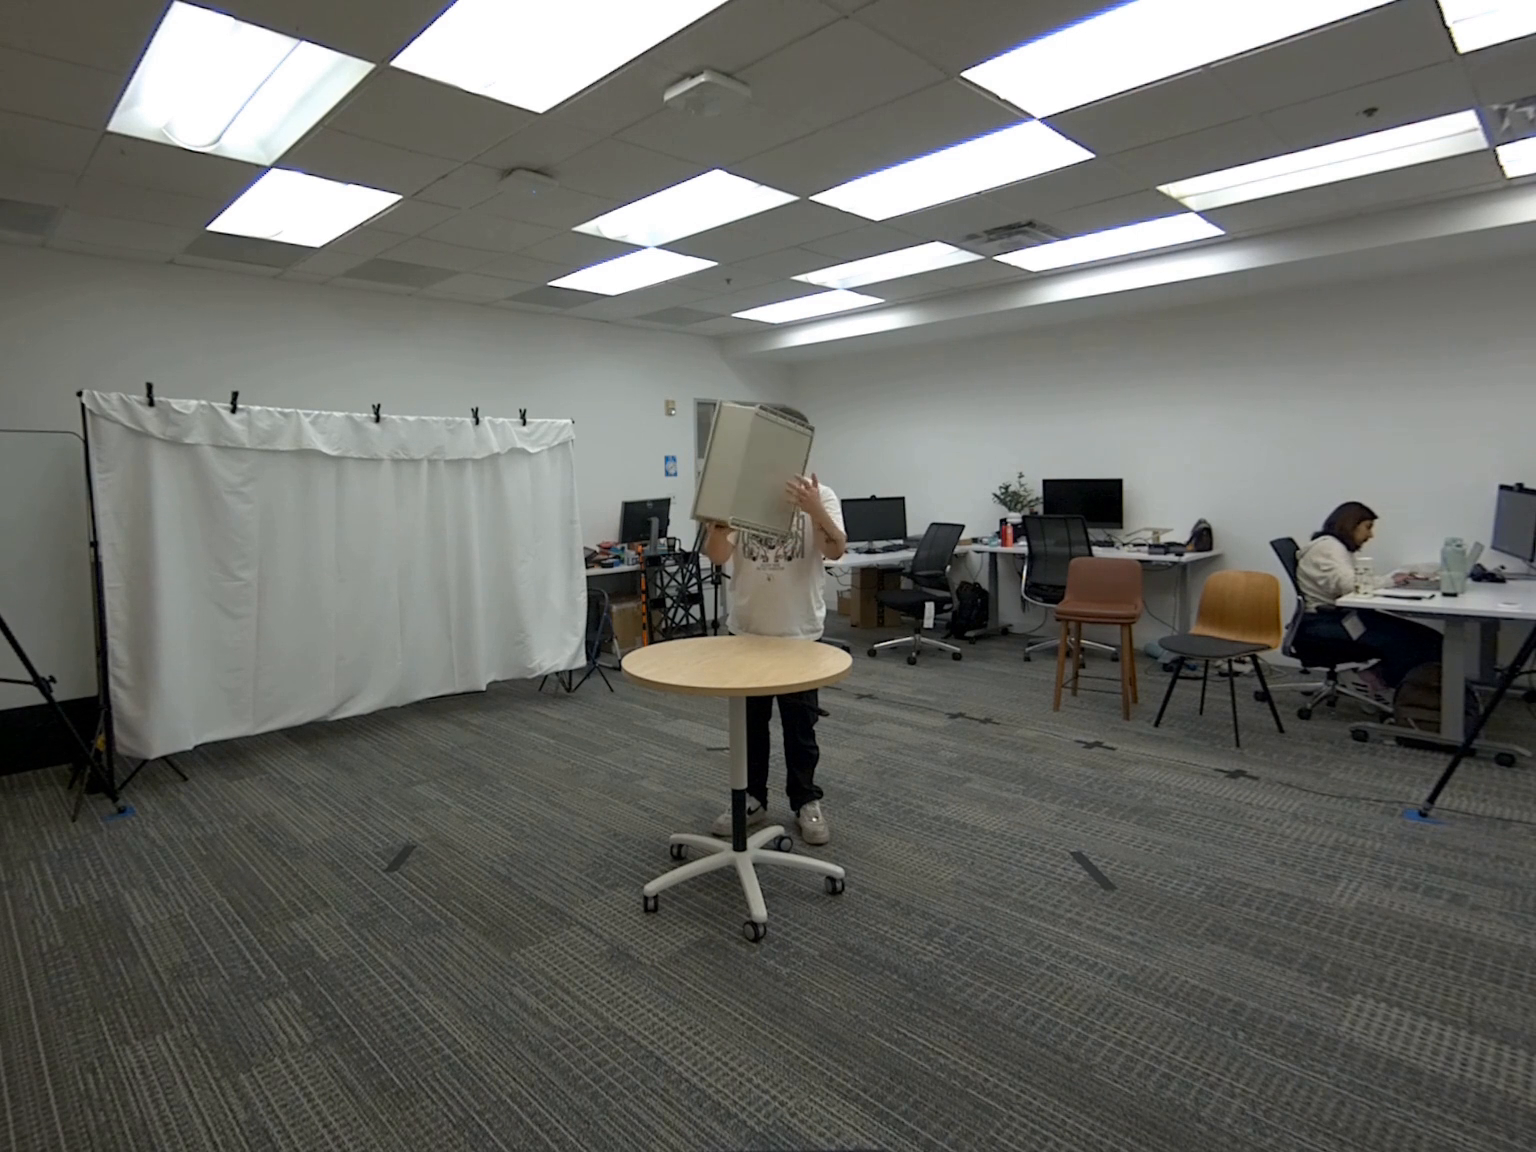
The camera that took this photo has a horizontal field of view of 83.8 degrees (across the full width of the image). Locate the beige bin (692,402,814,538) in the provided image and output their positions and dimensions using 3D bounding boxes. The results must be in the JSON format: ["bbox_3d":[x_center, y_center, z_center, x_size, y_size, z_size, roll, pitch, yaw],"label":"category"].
[{"bbox_3d":[-0.029,-0.350,2.959,0.195,0.422,0.364,15,1,39],"label":"beige bin"}]
